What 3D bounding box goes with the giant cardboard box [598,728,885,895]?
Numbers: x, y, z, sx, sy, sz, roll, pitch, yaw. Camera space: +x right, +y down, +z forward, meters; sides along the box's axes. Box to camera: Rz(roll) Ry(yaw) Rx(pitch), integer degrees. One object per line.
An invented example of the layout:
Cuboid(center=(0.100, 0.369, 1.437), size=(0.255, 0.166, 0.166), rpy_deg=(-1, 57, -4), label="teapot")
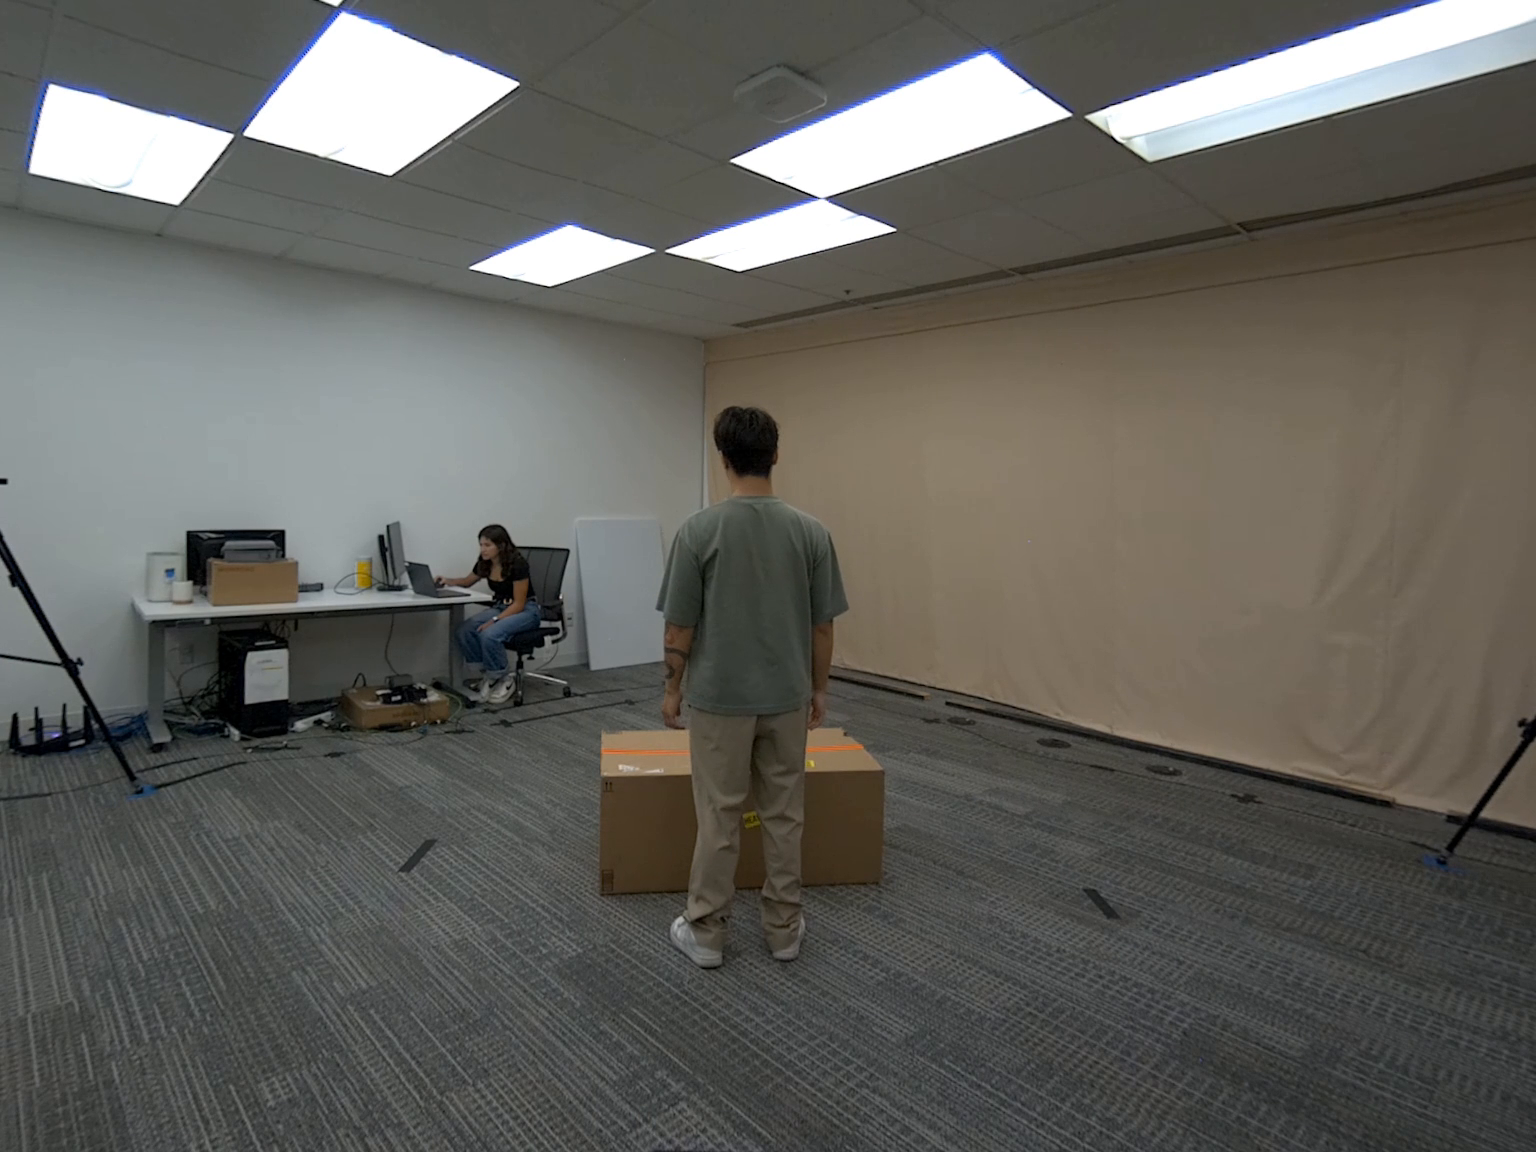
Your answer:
Cuboid(center=(-0.142, 0.876, 3.270), size=(1.018, 0.425, 0.583), rpy_deg=(1, 5, -9), label="giant cardboard box")
